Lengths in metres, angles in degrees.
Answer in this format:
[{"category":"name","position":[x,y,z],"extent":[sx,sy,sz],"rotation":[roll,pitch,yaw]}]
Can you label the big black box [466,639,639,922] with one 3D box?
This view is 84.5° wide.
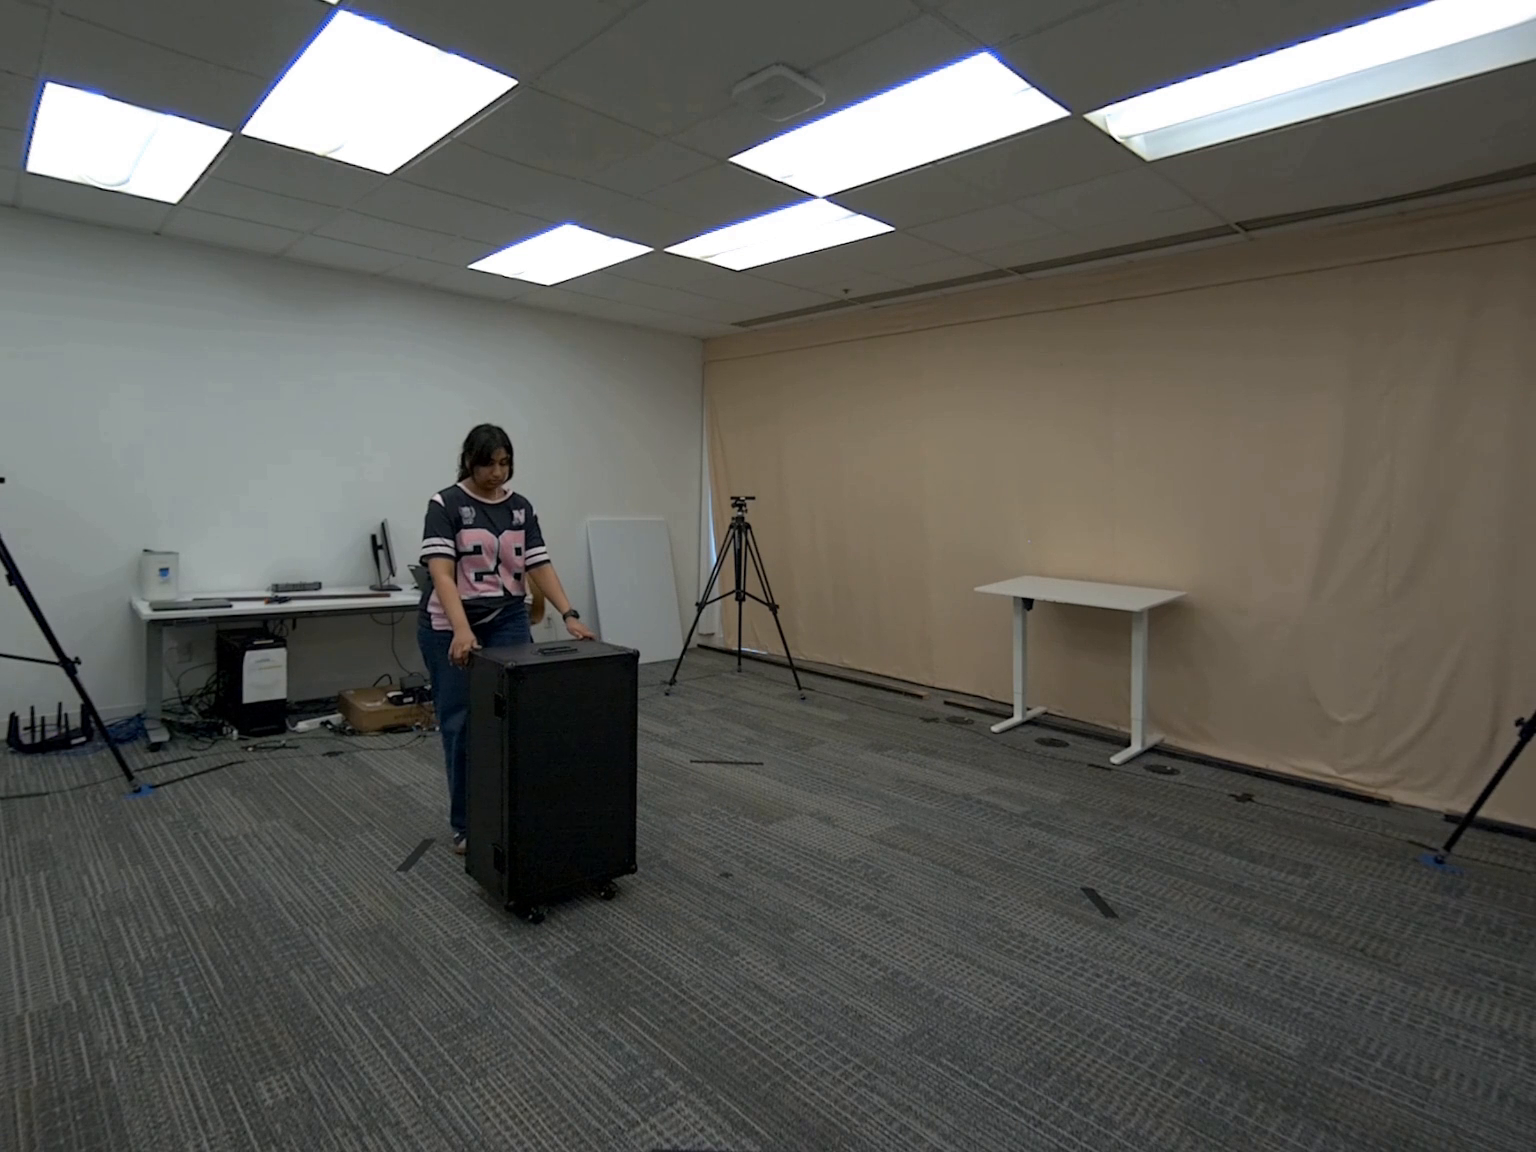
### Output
[{"category":"big black box","position":[-0.762,0.686,2.911],"extent":[0.511,0.867,0.395],"rotation":[-1,3,-40]}]
